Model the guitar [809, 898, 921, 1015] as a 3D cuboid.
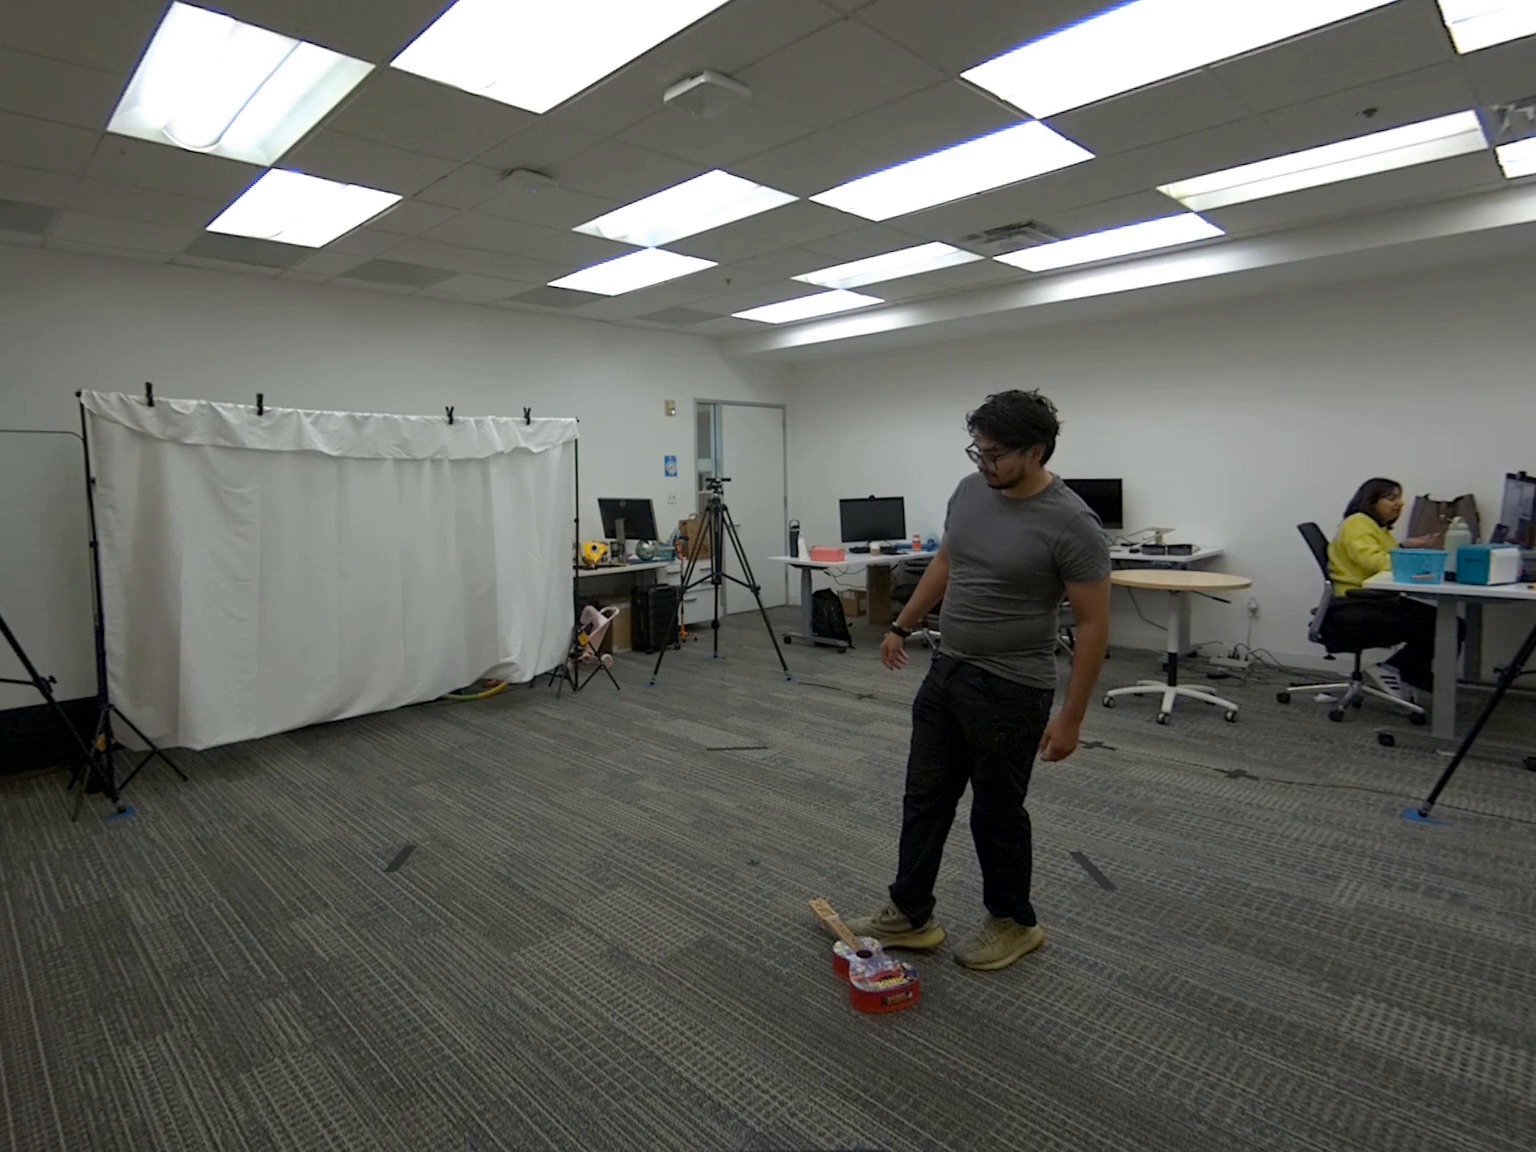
[{"bbox_3d":[0.278,1.077,2.471,0.191,0.070,0.505,-3,7,-12],"label":"guitar"}]
